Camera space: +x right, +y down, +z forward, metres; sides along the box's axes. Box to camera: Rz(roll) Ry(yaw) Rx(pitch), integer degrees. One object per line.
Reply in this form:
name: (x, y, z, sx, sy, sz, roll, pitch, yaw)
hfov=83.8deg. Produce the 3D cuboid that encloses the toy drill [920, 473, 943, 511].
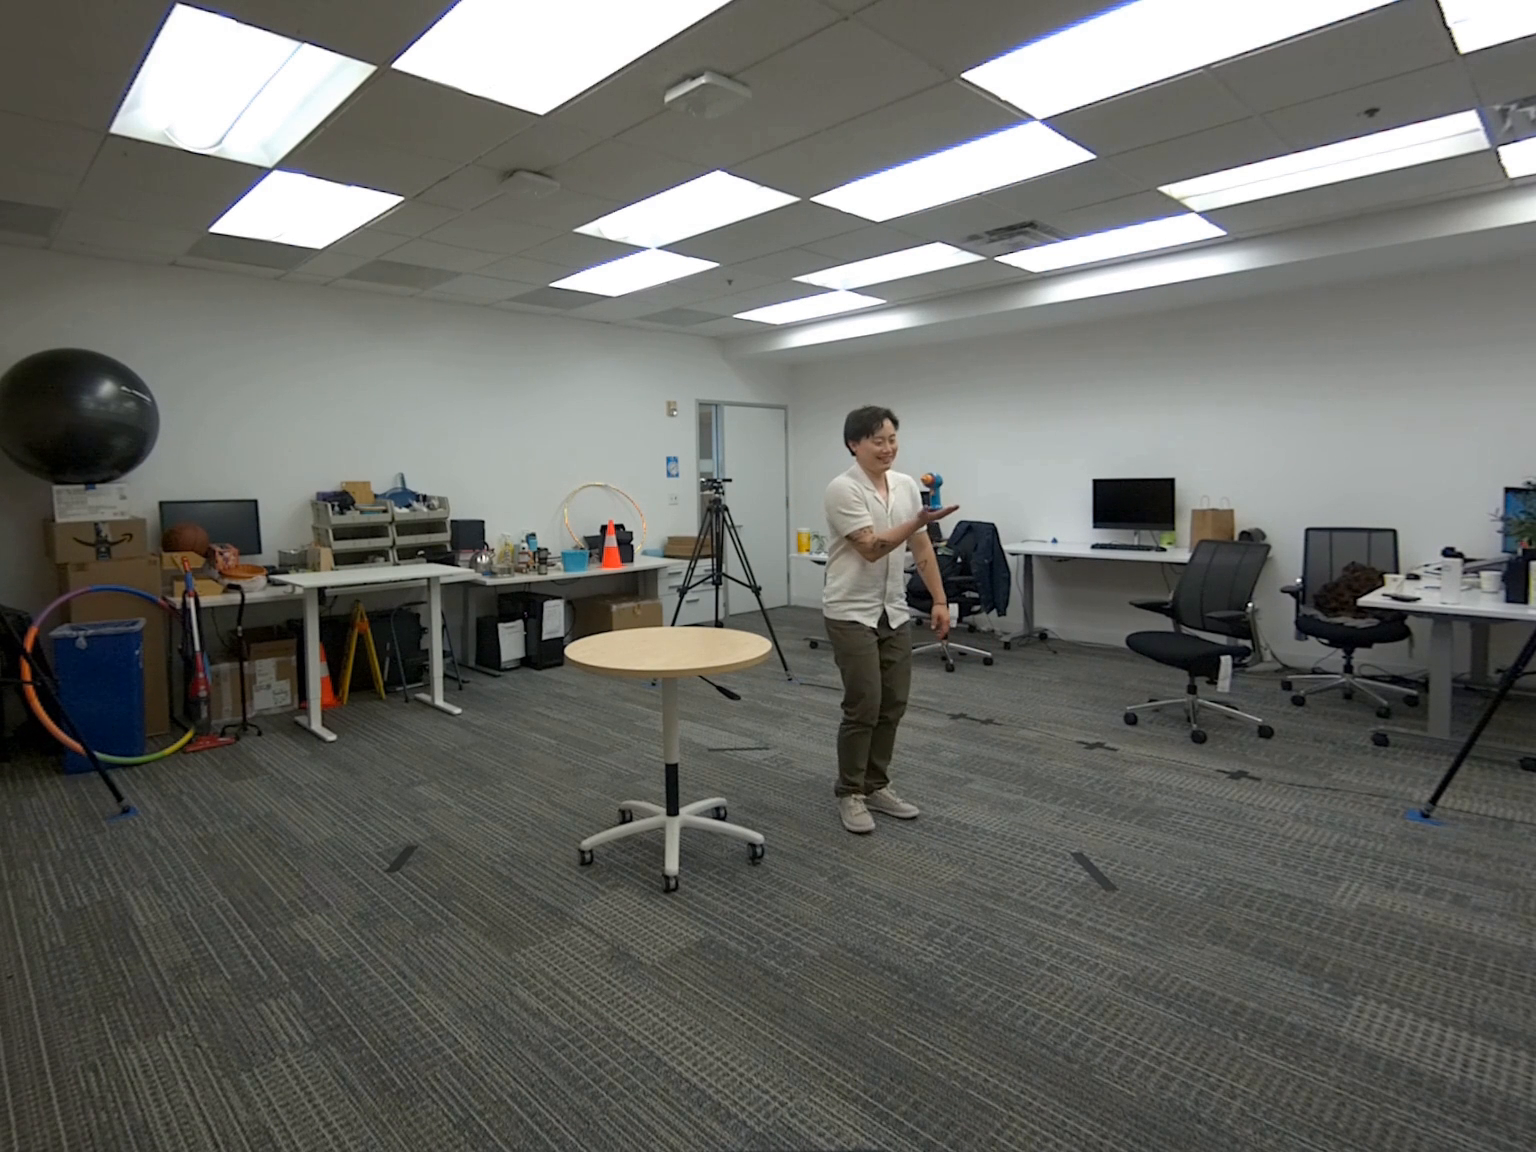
toy drill: (0.597, -0.312, 3.122, 0.062, 0.146, 0.165, 3, -1, 26)
